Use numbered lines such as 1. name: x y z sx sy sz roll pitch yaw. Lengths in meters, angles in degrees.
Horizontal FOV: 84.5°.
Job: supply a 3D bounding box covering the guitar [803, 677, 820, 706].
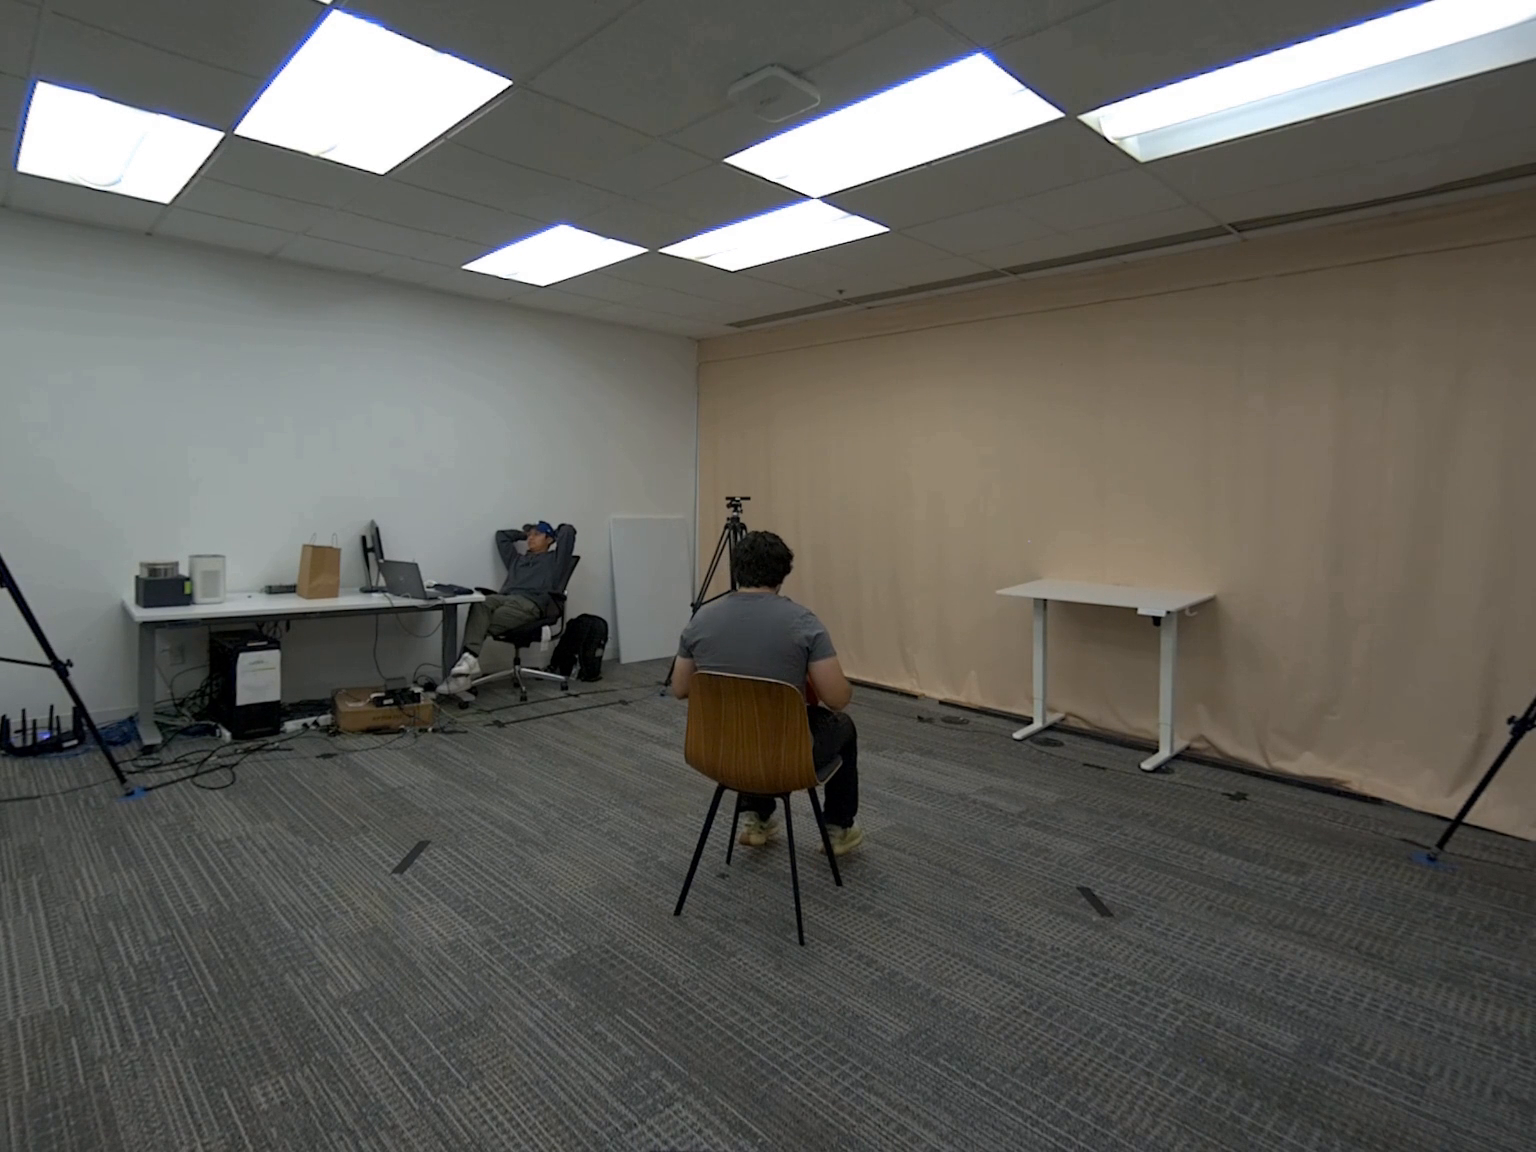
1. guitar: -0.001 0.332 3.064 0.512 0.188 0.071 15 52 46
